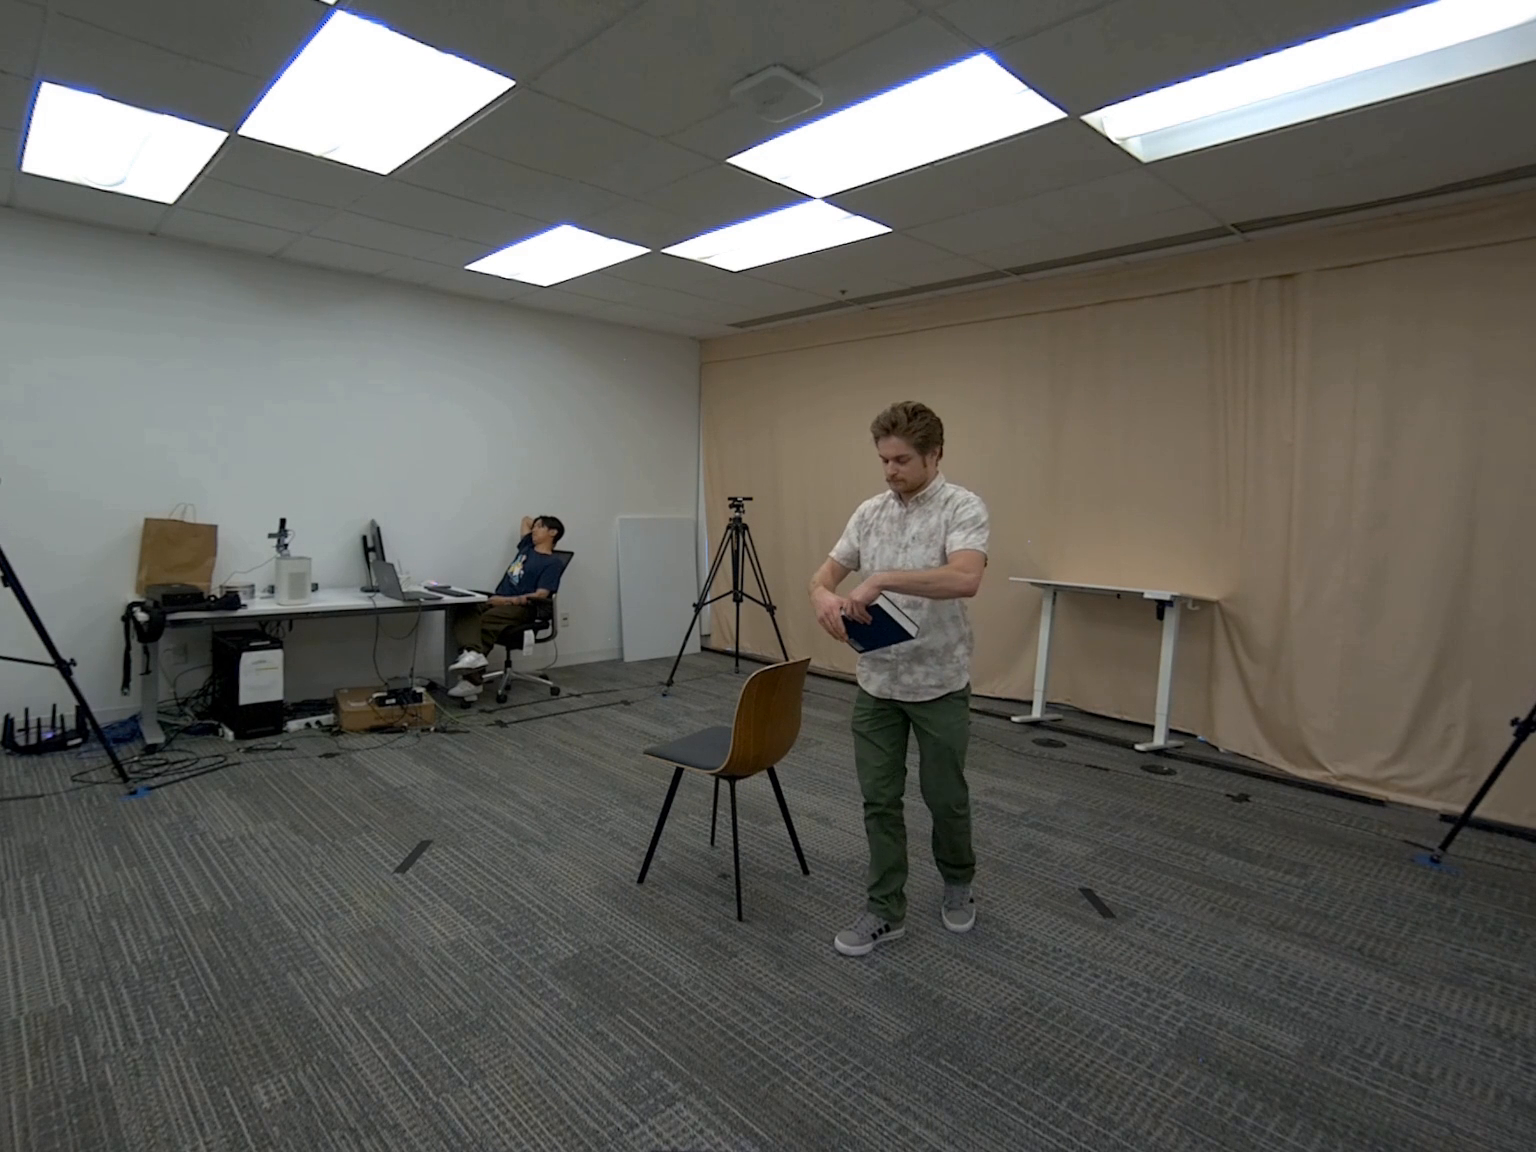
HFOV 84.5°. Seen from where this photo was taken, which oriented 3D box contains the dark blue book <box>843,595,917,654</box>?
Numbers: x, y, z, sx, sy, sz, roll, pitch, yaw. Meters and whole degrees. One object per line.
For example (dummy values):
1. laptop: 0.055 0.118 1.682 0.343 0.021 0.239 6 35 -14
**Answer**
1. dark blue book: 0.304 0.142 2.488 0.248 0.161 0.045 -26 24 52
